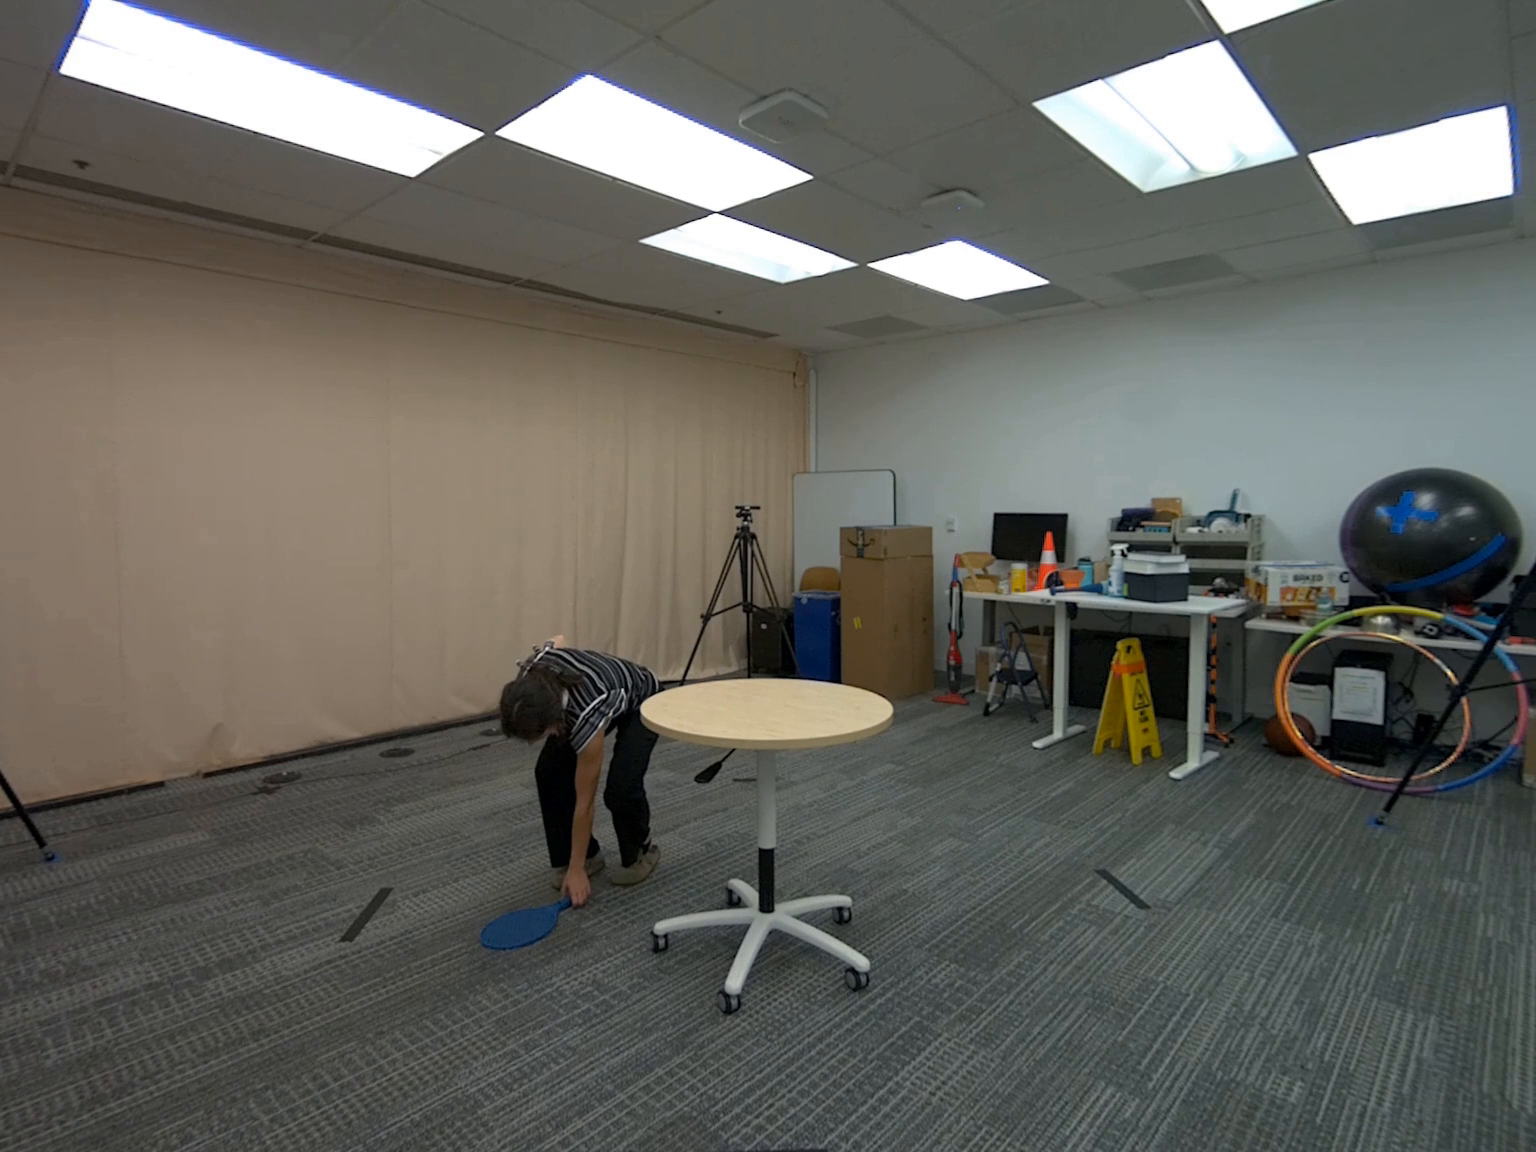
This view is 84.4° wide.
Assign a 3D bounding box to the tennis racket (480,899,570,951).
[{"bbox_3d":[-0.777,1.146,2.839,0.220,0.031,0.421,2,7,35],"label":"tennis racket"}]
